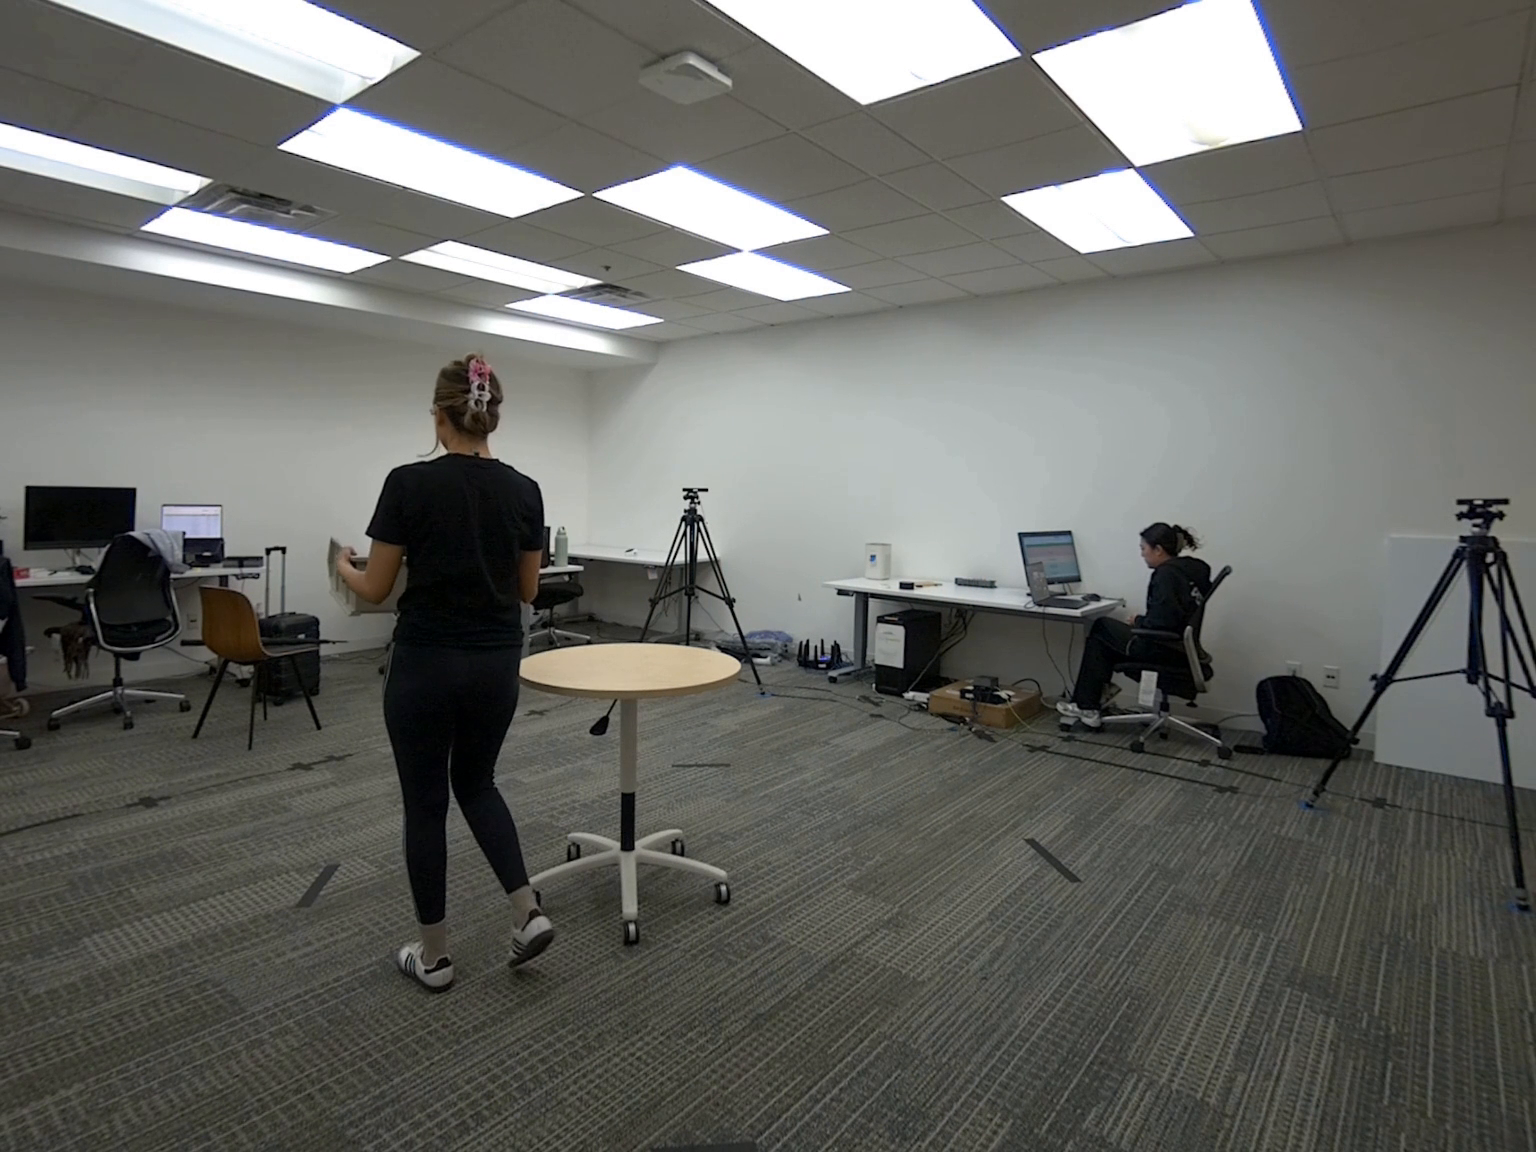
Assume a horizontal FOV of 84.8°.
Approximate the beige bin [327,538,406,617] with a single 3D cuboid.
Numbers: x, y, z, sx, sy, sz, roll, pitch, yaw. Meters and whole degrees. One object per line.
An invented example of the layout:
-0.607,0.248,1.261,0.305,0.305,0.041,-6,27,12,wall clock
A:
-1.152,-0.006,2.723,0.409,0.187,0.392,0,13,-36,beige bin
